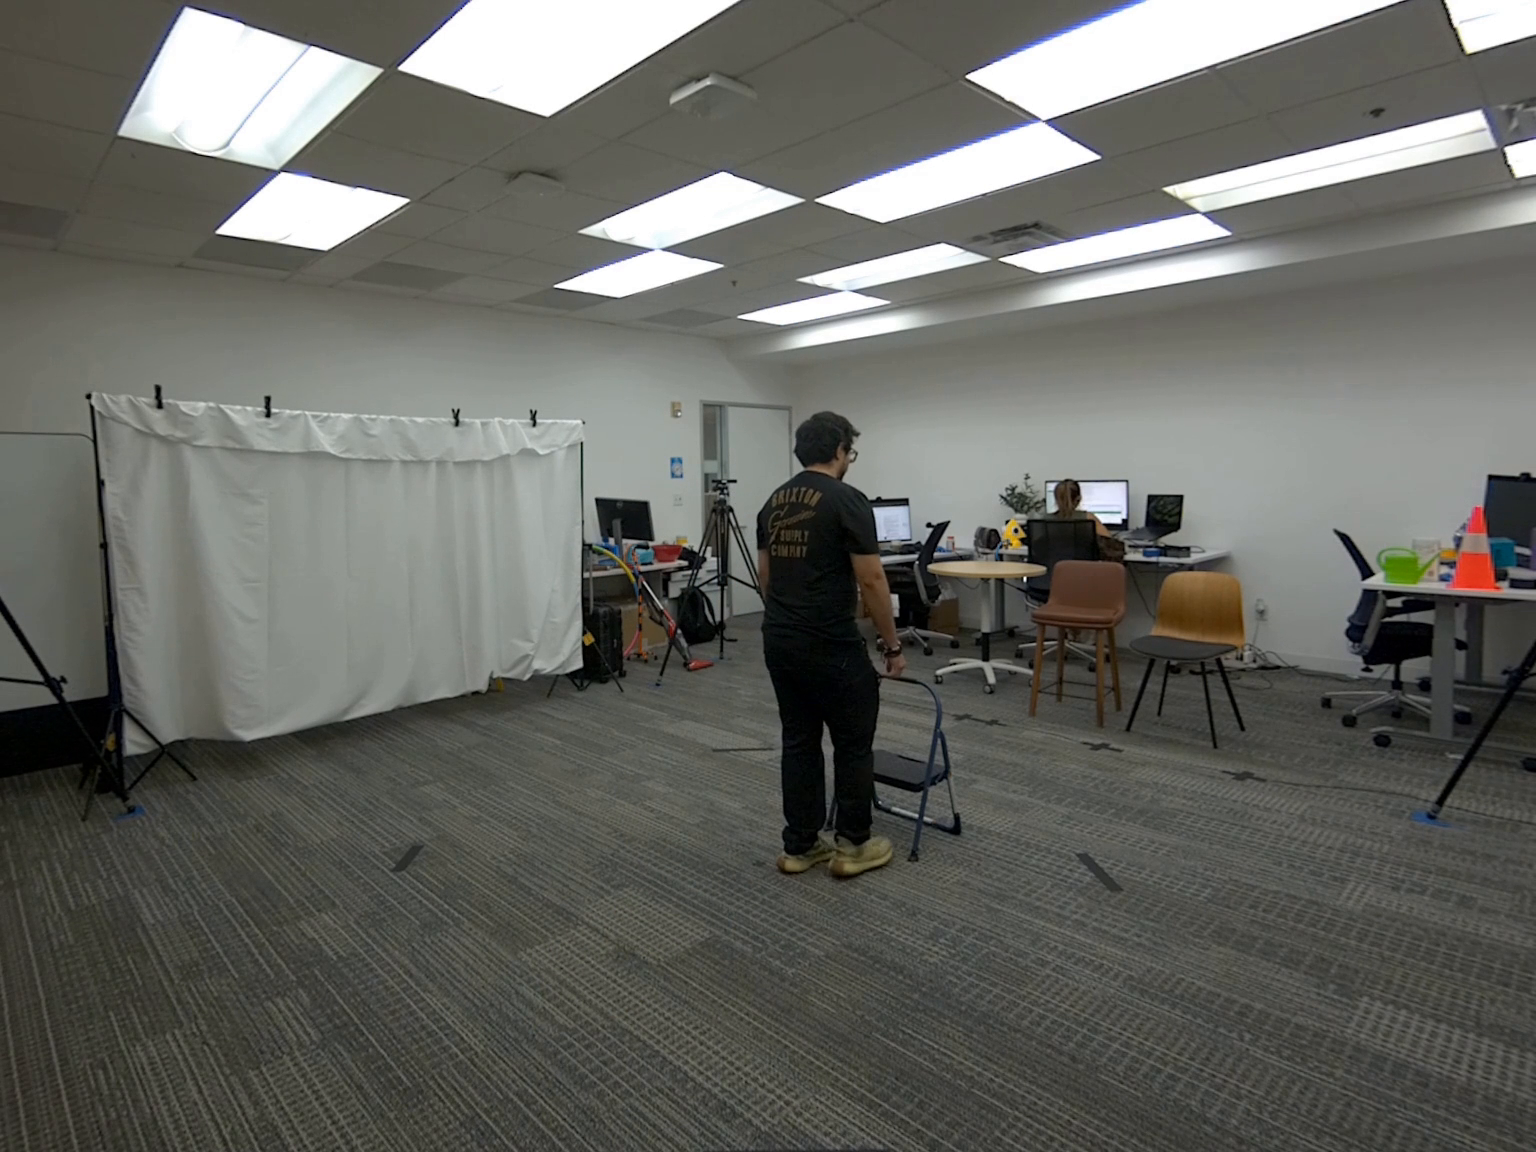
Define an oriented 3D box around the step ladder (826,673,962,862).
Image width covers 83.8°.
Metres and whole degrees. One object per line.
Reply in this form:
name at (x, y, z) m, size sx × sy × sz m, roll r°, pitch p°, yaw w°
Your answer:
step ladder at (0.489, 0.708, 3.354) m, size 0.444 × 0.603 × 0.340 m, roll 4°, pitch 7°, yaw 44°
